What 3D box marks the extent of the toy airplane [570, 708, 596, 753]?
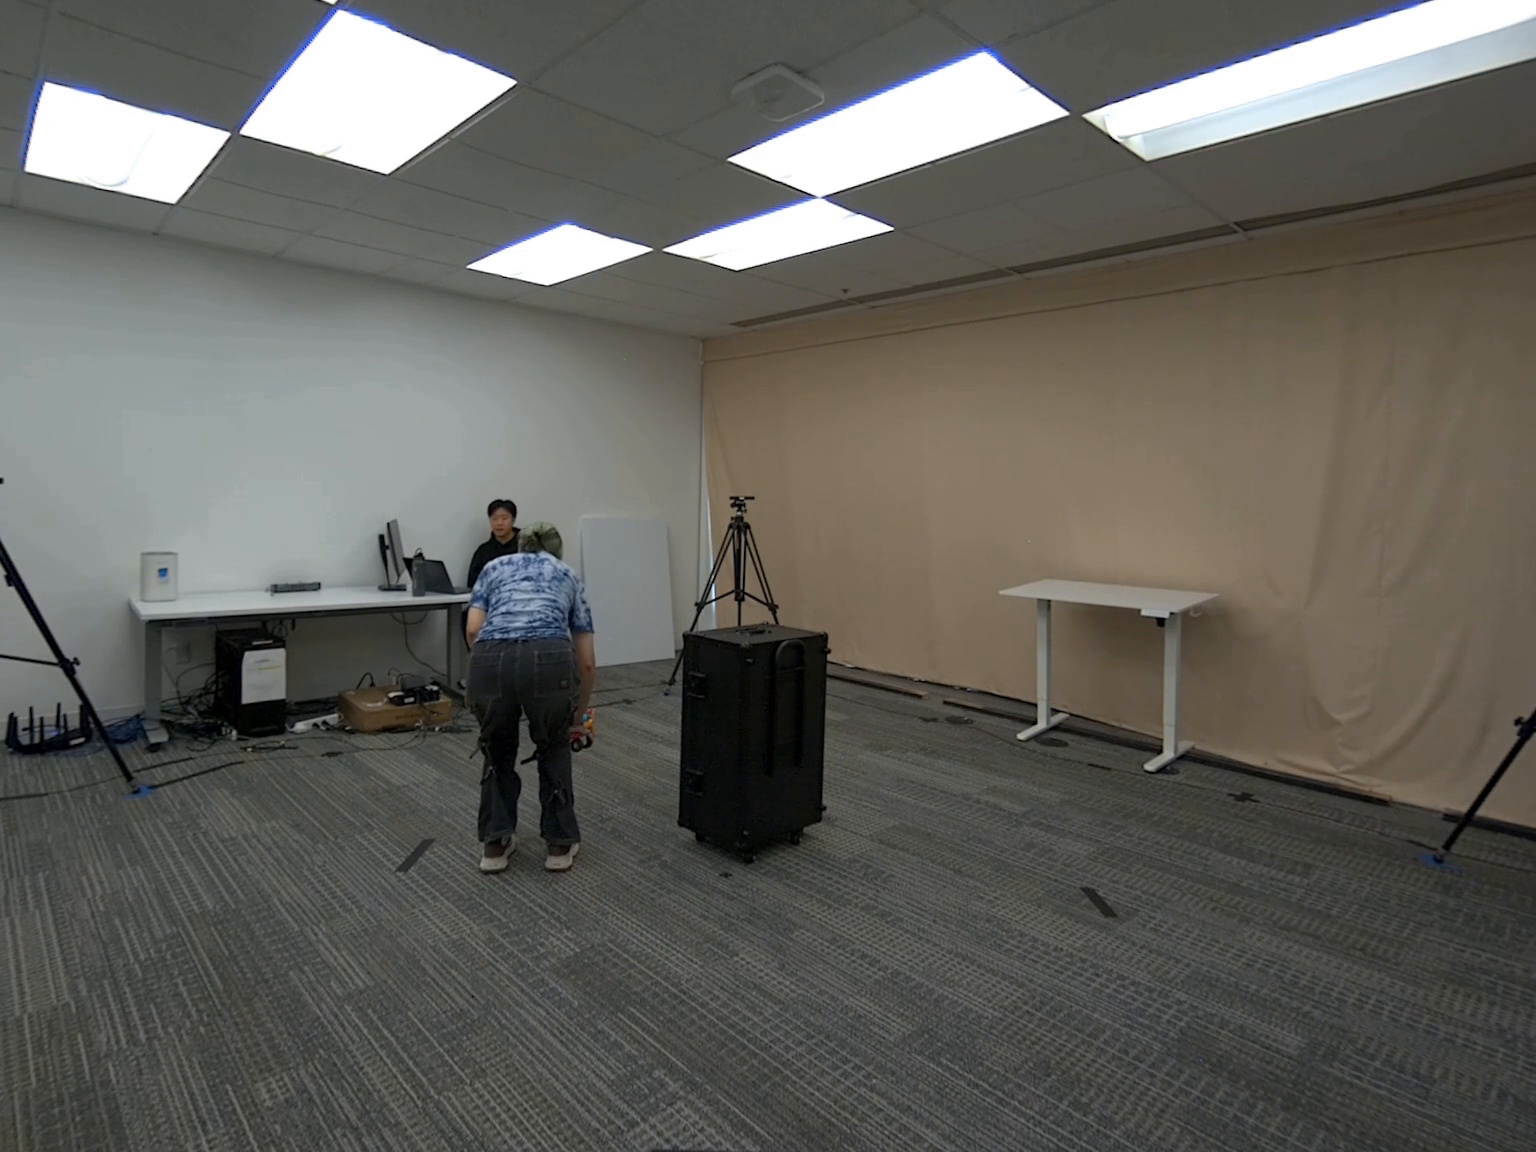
[{"bbox_3d":[-0.858,0.639,3.535,0.257,0.156,0.254,7,3,-10],"label":"toy airplane"}]
